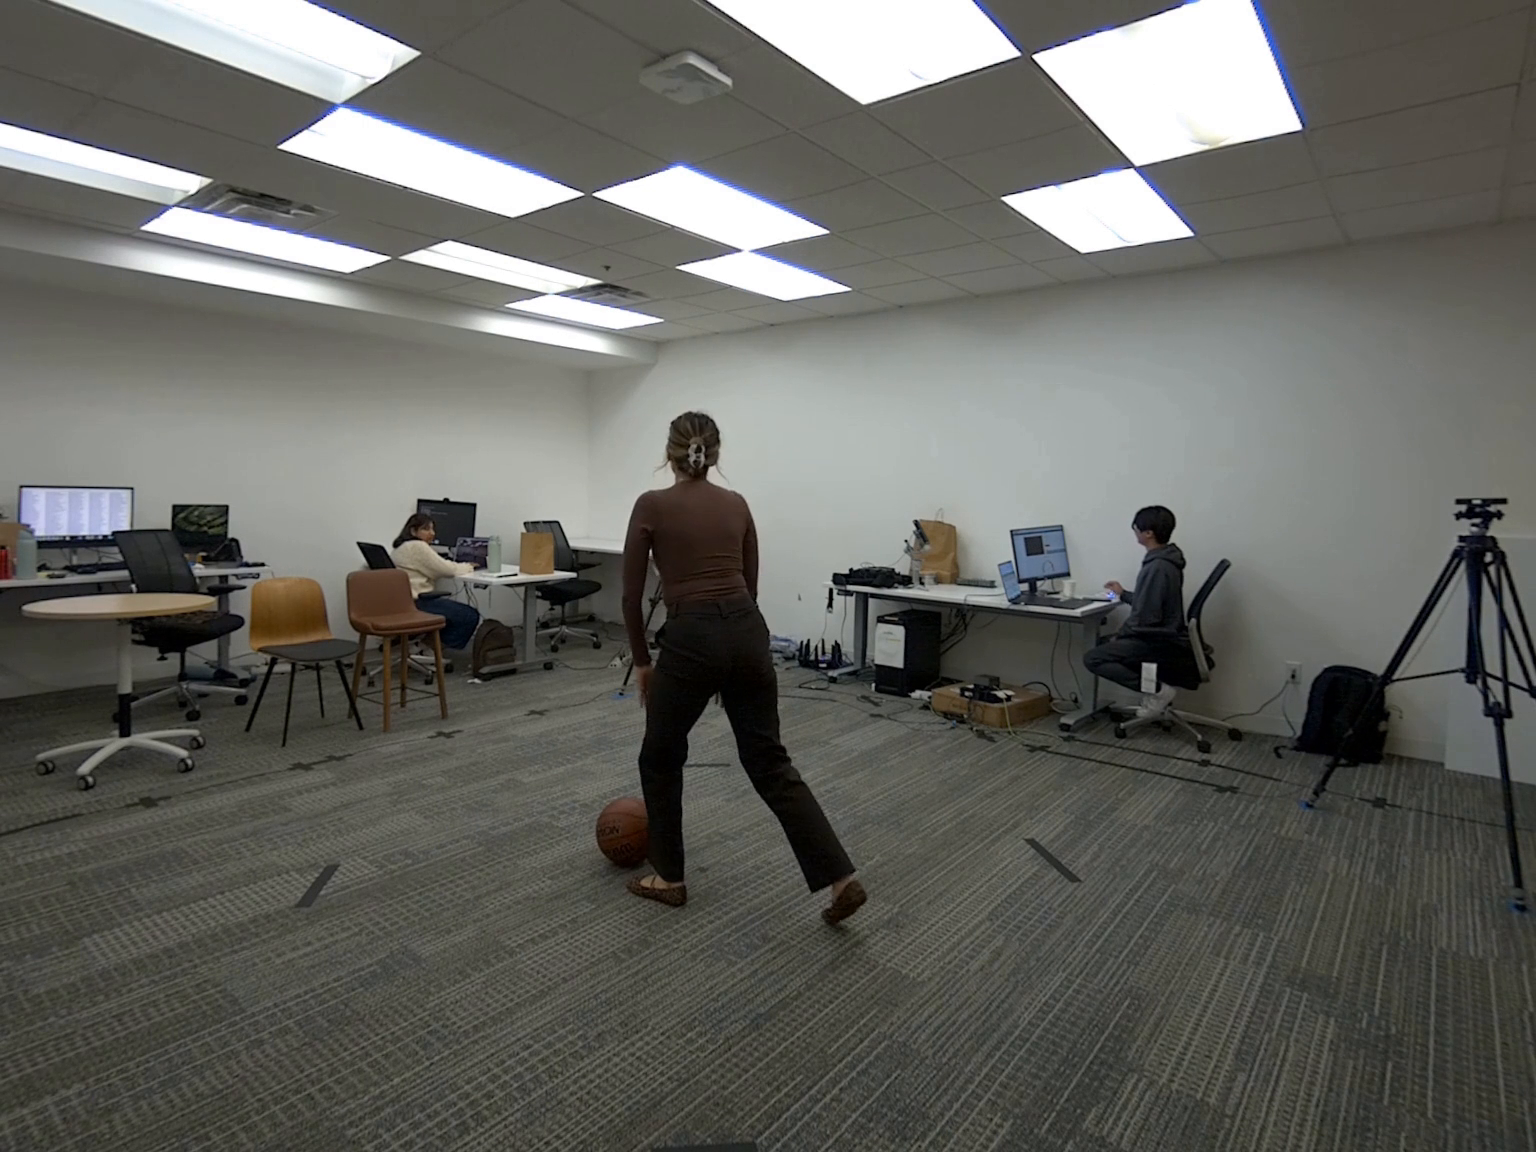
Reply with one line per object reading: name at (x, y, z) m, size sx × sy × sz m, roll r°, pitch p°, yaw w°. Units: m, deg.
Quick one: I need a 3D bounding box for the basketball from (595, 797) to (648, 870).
basketball at (-0.532, 0.937, 3.153) m, size 0.236 × 0.235 × 0.237 m, roll 1°, pitch 4°, yaw -2°
